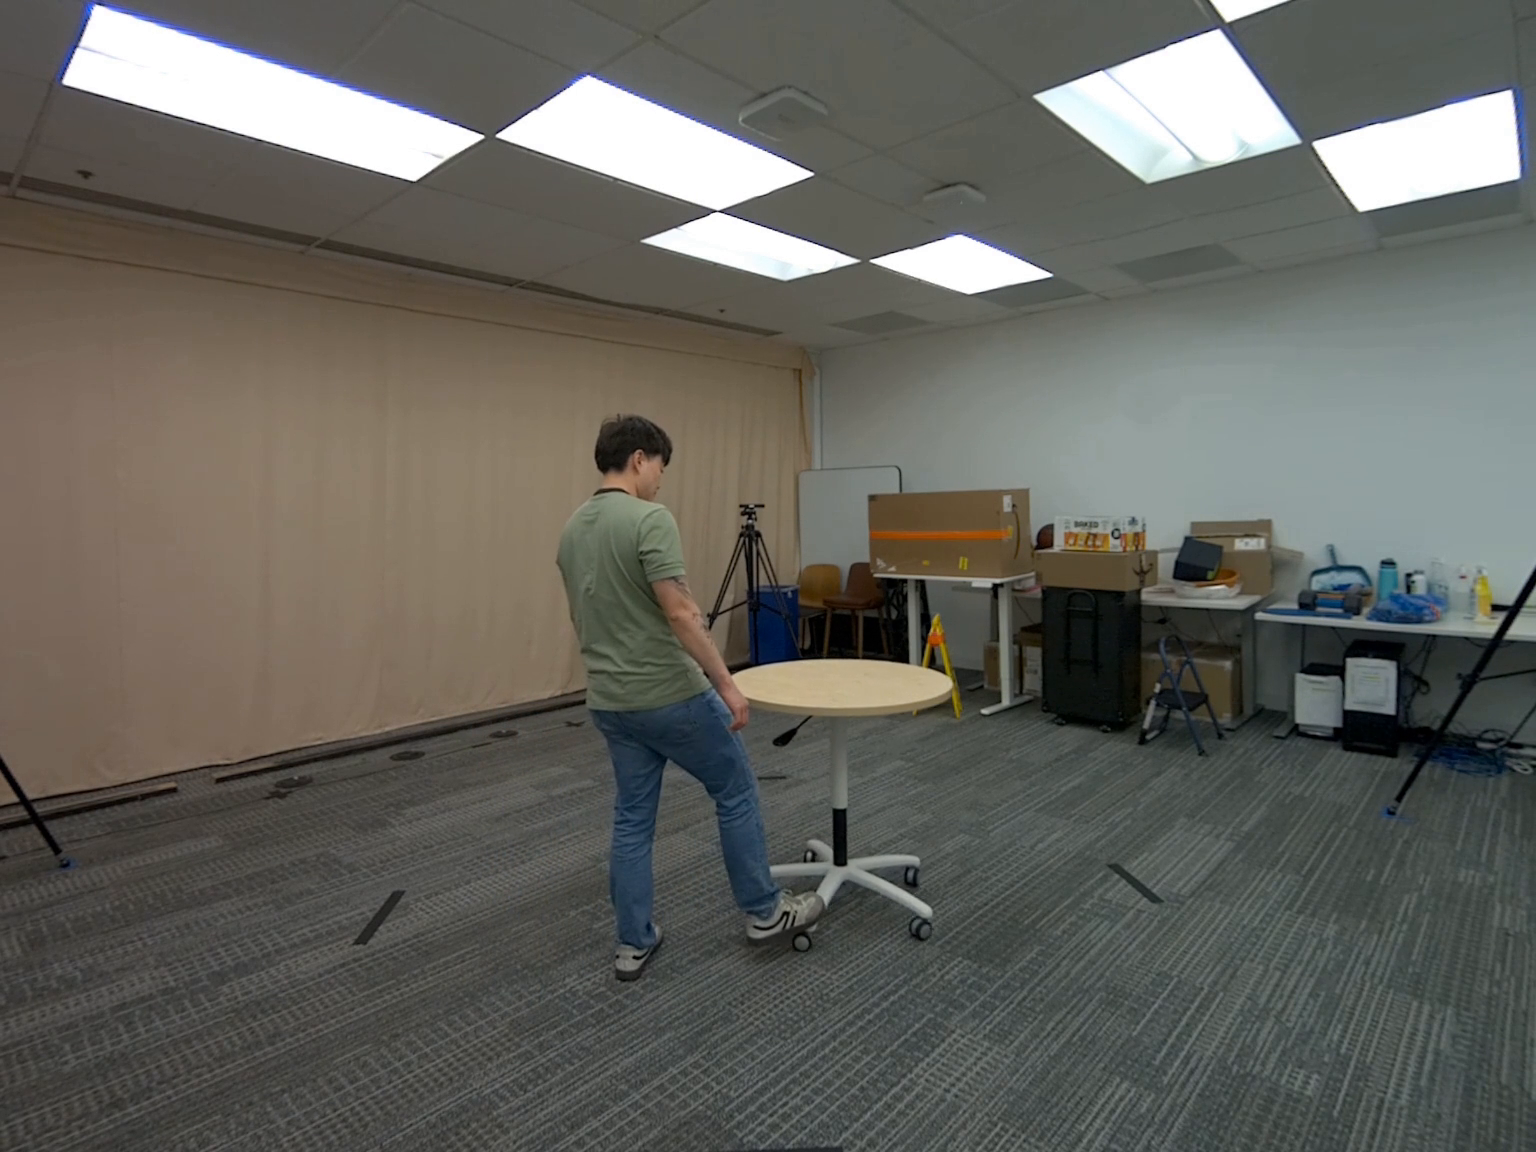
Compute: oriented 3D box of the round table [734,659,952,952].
[{"bbox_3d":[0.252,0.752,2.910,0.763,0.792,0.767,-1,4,-2],"label":"round table"}]
